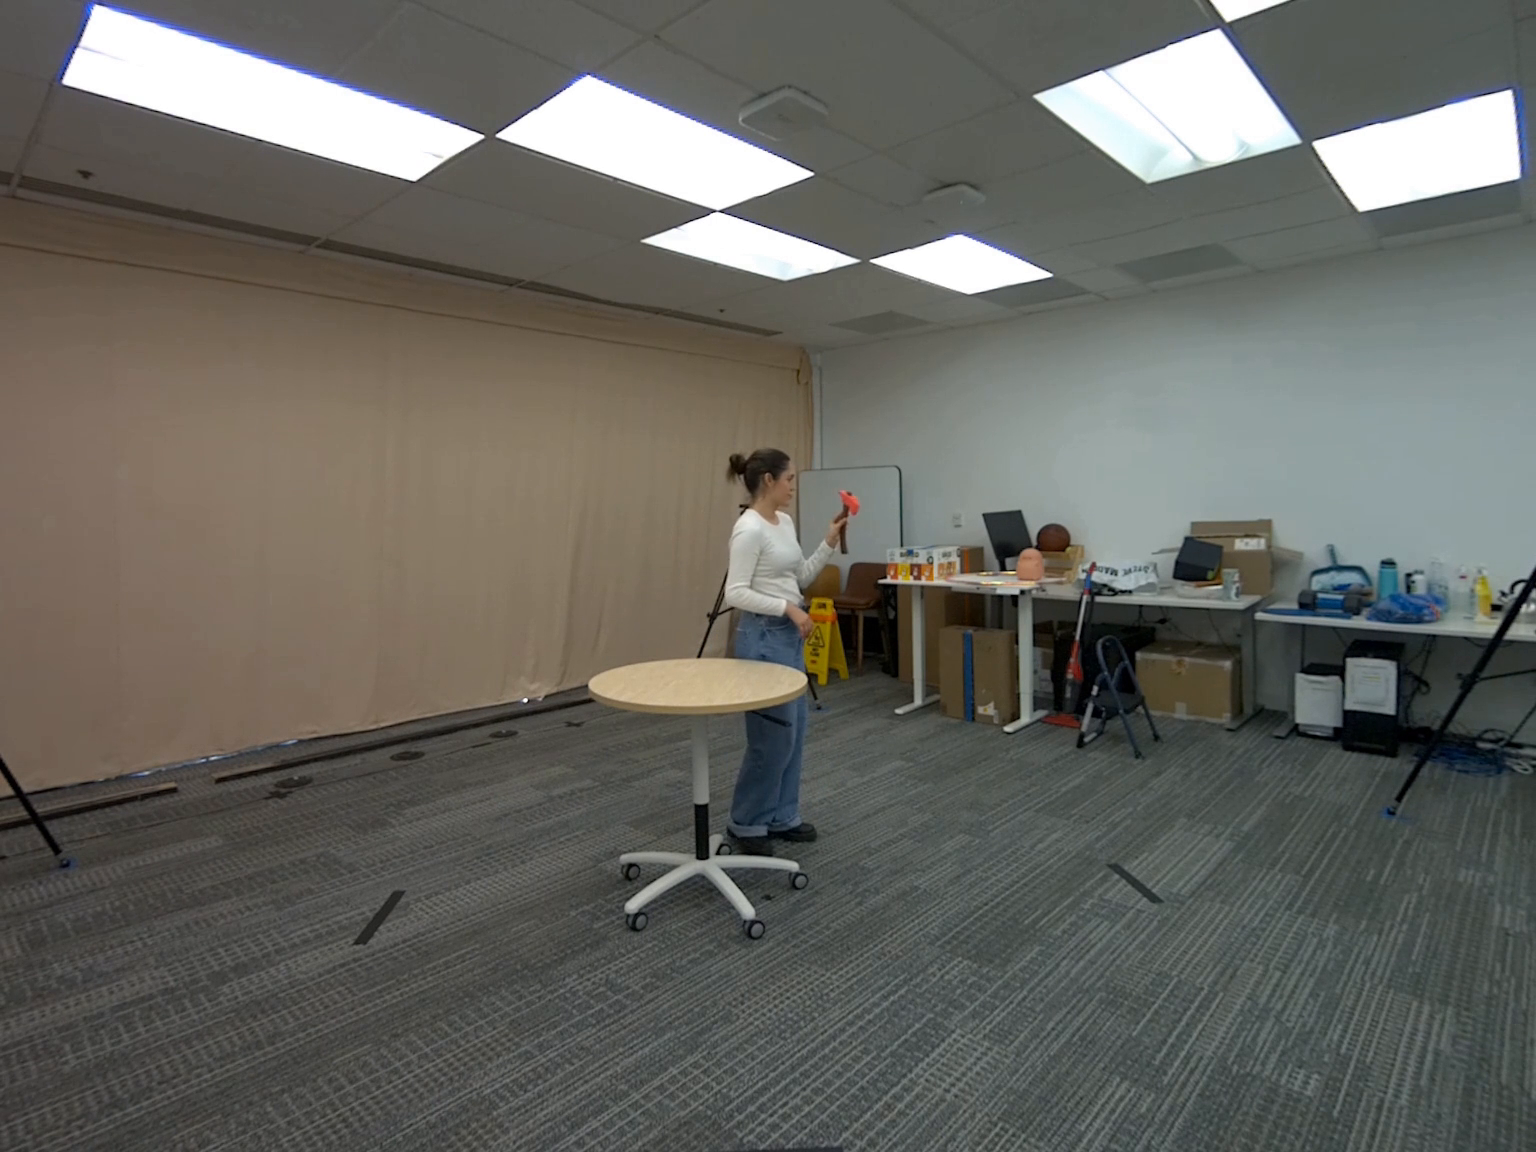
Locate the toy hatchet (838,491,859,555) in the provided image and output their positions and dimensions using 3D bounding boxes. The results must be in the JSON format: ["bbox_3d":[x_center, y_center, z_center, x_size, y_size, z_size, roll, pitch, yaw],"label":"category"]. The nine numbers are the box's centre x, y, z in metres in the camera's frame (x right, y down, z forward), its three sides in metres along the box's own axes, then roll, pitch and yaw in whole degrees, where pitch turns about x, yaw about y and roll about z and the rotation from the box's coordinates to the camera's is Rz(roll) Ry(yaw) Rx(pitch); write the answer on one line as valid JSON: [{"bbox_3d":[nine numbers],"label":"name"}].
[{"bbox_3d":[0.336,-0.212,3.411,0.029,0.267,0.135,-11,16,-29],"label":"toy hatchet"}]
